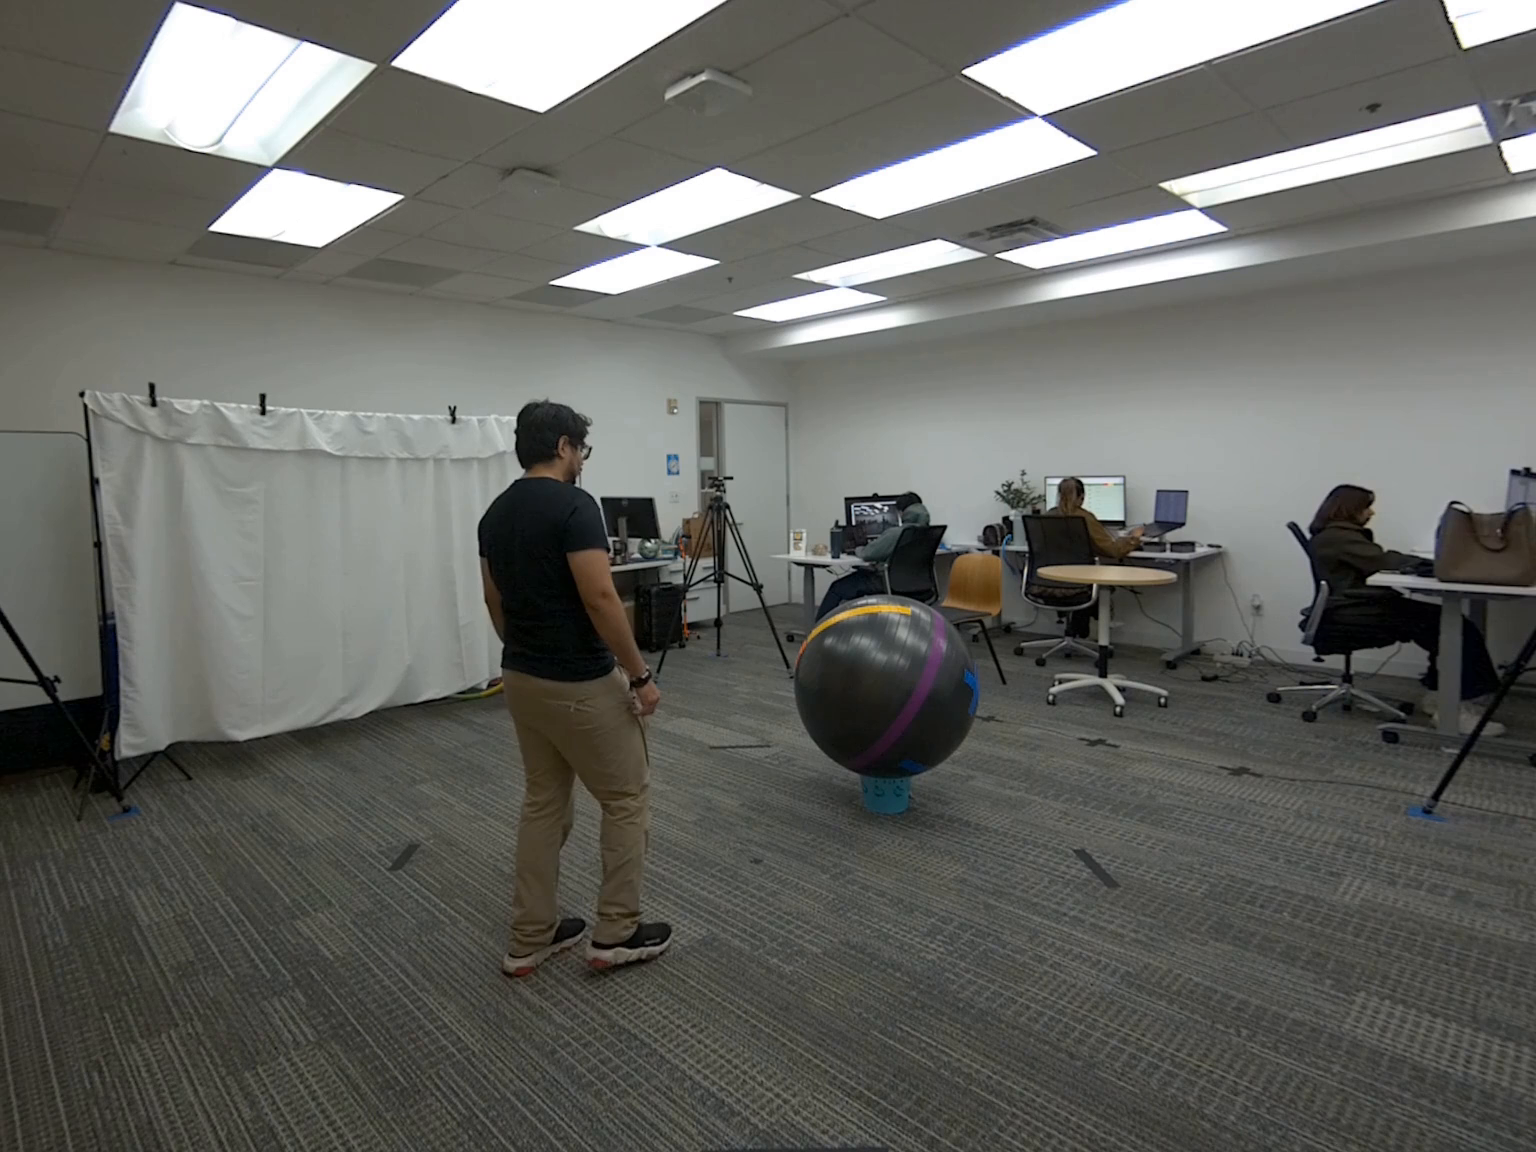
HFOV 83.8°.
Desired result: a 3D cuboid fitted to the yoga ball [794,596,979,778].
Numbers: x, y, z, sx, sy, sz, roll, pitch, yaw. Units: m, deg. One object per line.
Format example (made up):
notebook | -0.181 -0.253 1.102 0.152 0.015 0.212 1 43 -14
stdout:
yoga ball | 0.490 0.462 3.588 0.757 0.755 0.762 -1 5 -2
